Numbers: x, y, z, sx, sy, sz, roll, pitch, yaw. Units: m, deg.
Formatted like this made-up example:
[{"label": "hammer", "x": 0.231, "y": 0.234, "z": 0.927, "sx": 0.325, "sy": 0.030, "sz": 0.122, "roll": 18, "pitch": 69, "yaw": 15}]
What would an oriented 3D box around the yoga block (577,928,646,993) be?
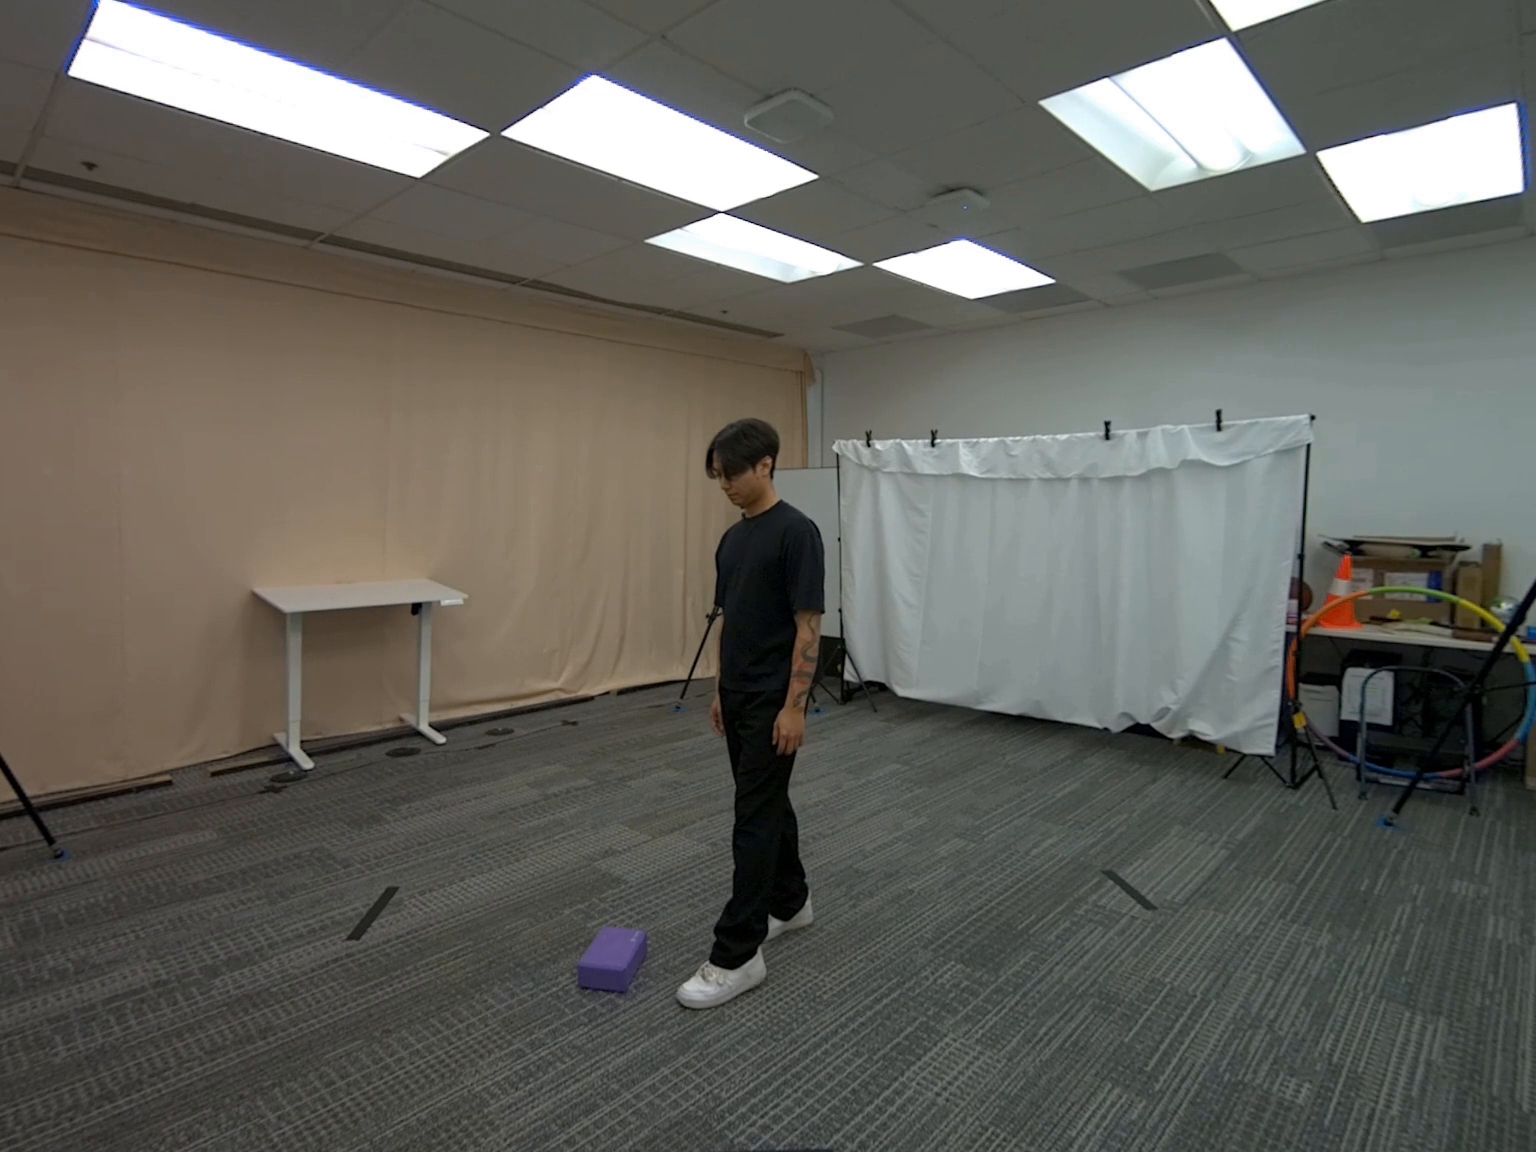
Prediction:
[{"label": "yoga block", "x": -0.464, "y": 1.147, "z": 2.524, "sx": 0.151, "sy": 0.076, "sz": 0.227, "roll": 1, "pitch": 4, "yaw": 10}]
